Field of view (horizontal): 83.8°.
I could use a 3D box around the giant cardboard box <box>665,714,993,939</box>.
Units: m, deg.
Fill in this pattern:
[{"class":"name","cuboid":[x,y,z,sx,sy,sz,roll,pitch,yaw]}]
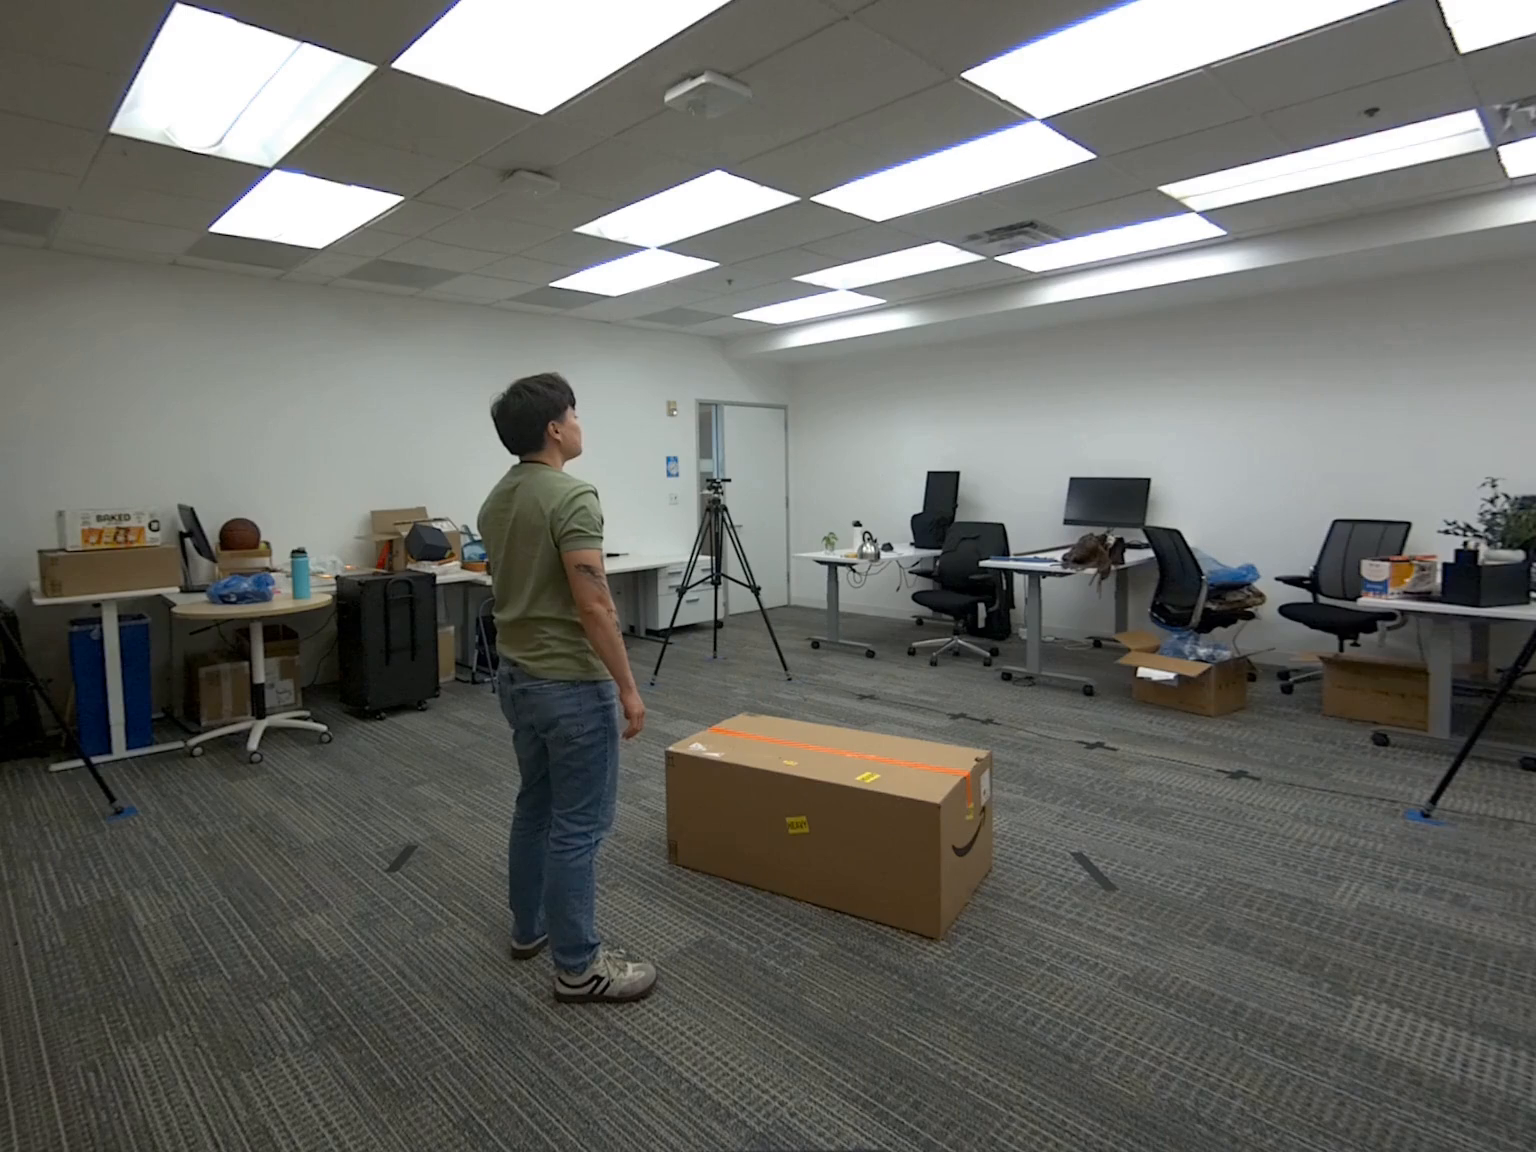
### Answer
[{"class":"giant cardboard box","cuboid":[0.213,0.829,3.065,1.054,0.424,0.565,3,7,32]}]
